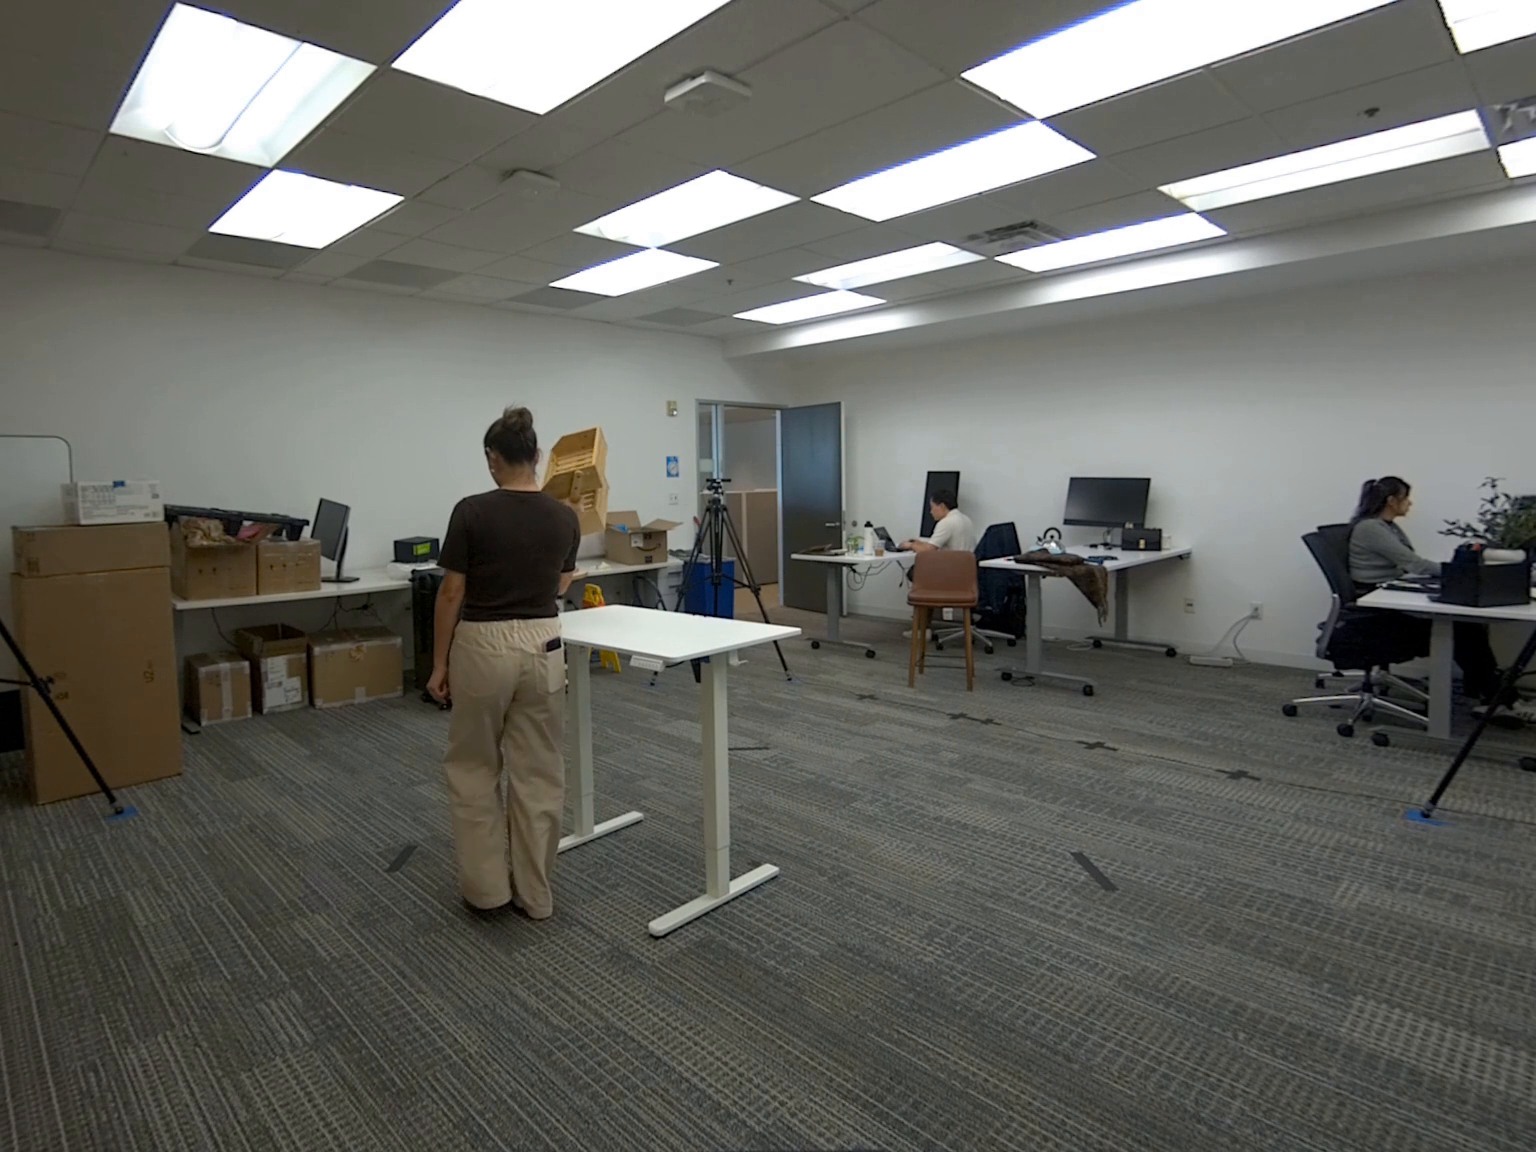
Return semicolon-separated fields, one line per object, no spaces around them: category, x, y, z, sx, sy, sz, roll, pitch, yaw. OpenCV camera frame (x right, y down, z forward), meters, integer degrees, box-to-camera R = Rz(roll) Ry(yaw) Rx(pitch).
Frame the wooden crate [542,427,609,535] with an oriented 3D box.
wooden crate;-0.725;-0.328;3.085;0.303;0.264;0.334;-16;35;4
